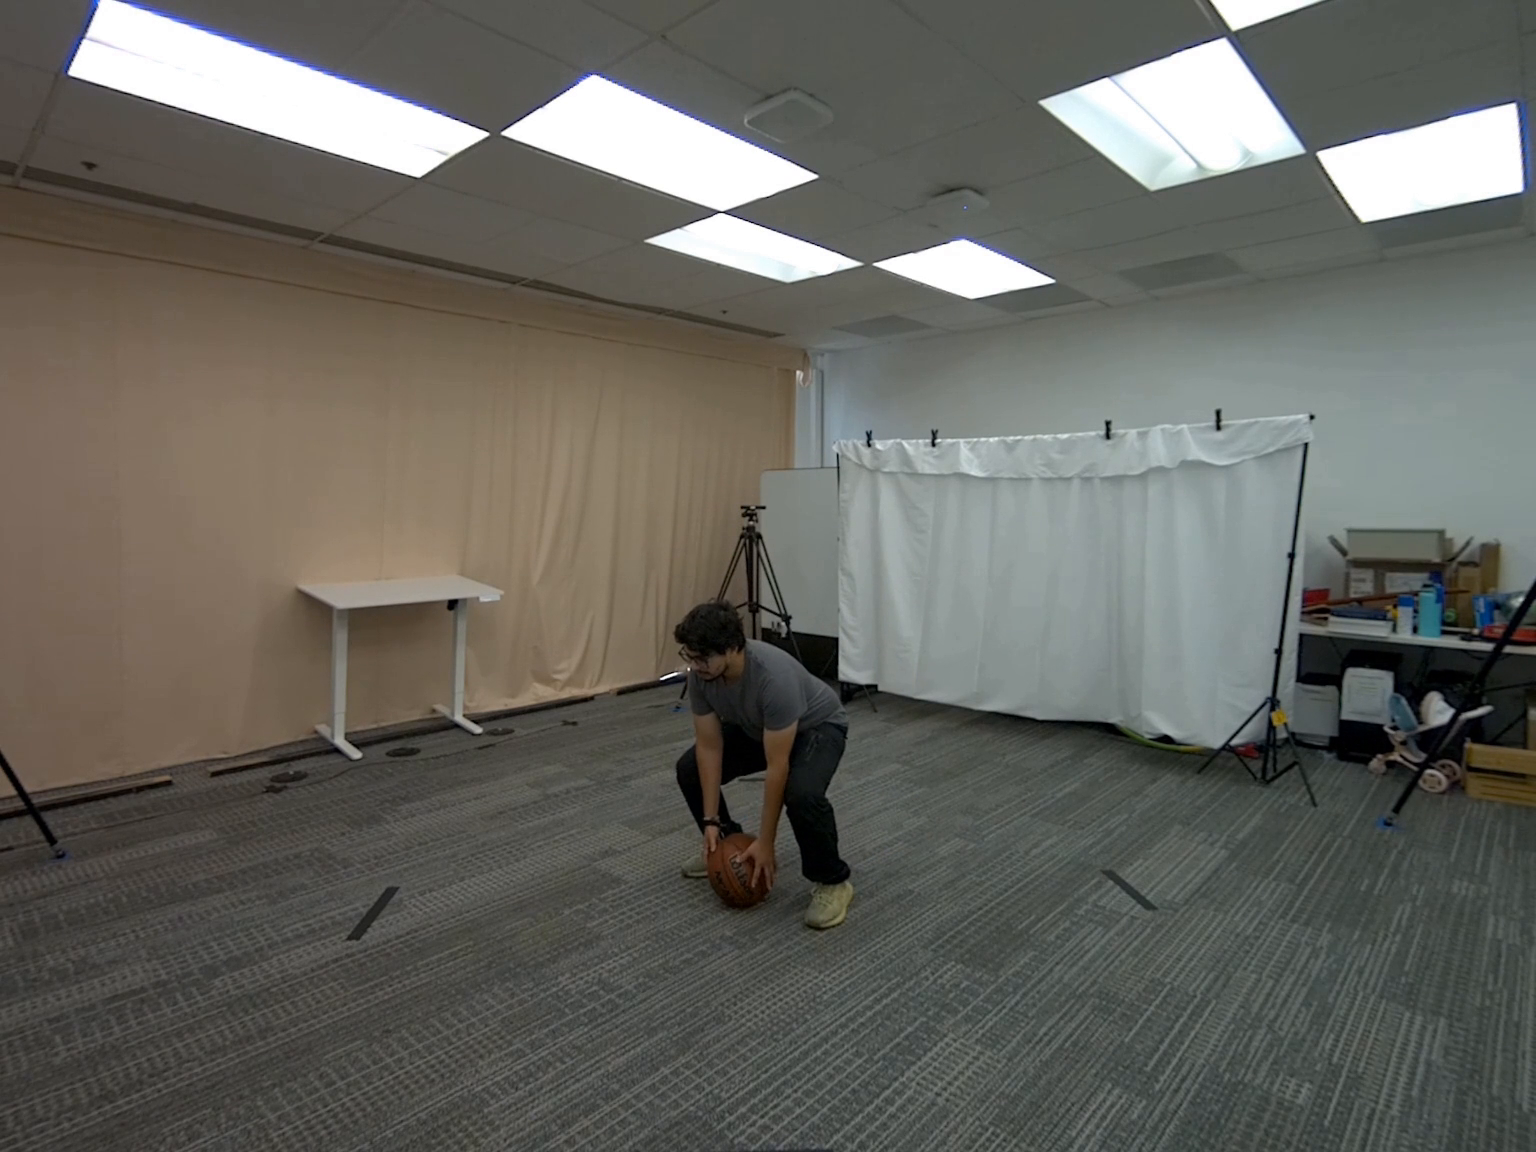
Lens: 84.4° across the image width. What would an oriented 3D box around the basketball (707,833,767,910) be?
[{"bbox_3d":[-0.086,1.027,2.951,0.236,0.235,0.237,0,4,-2],"label":"basketball"}]
